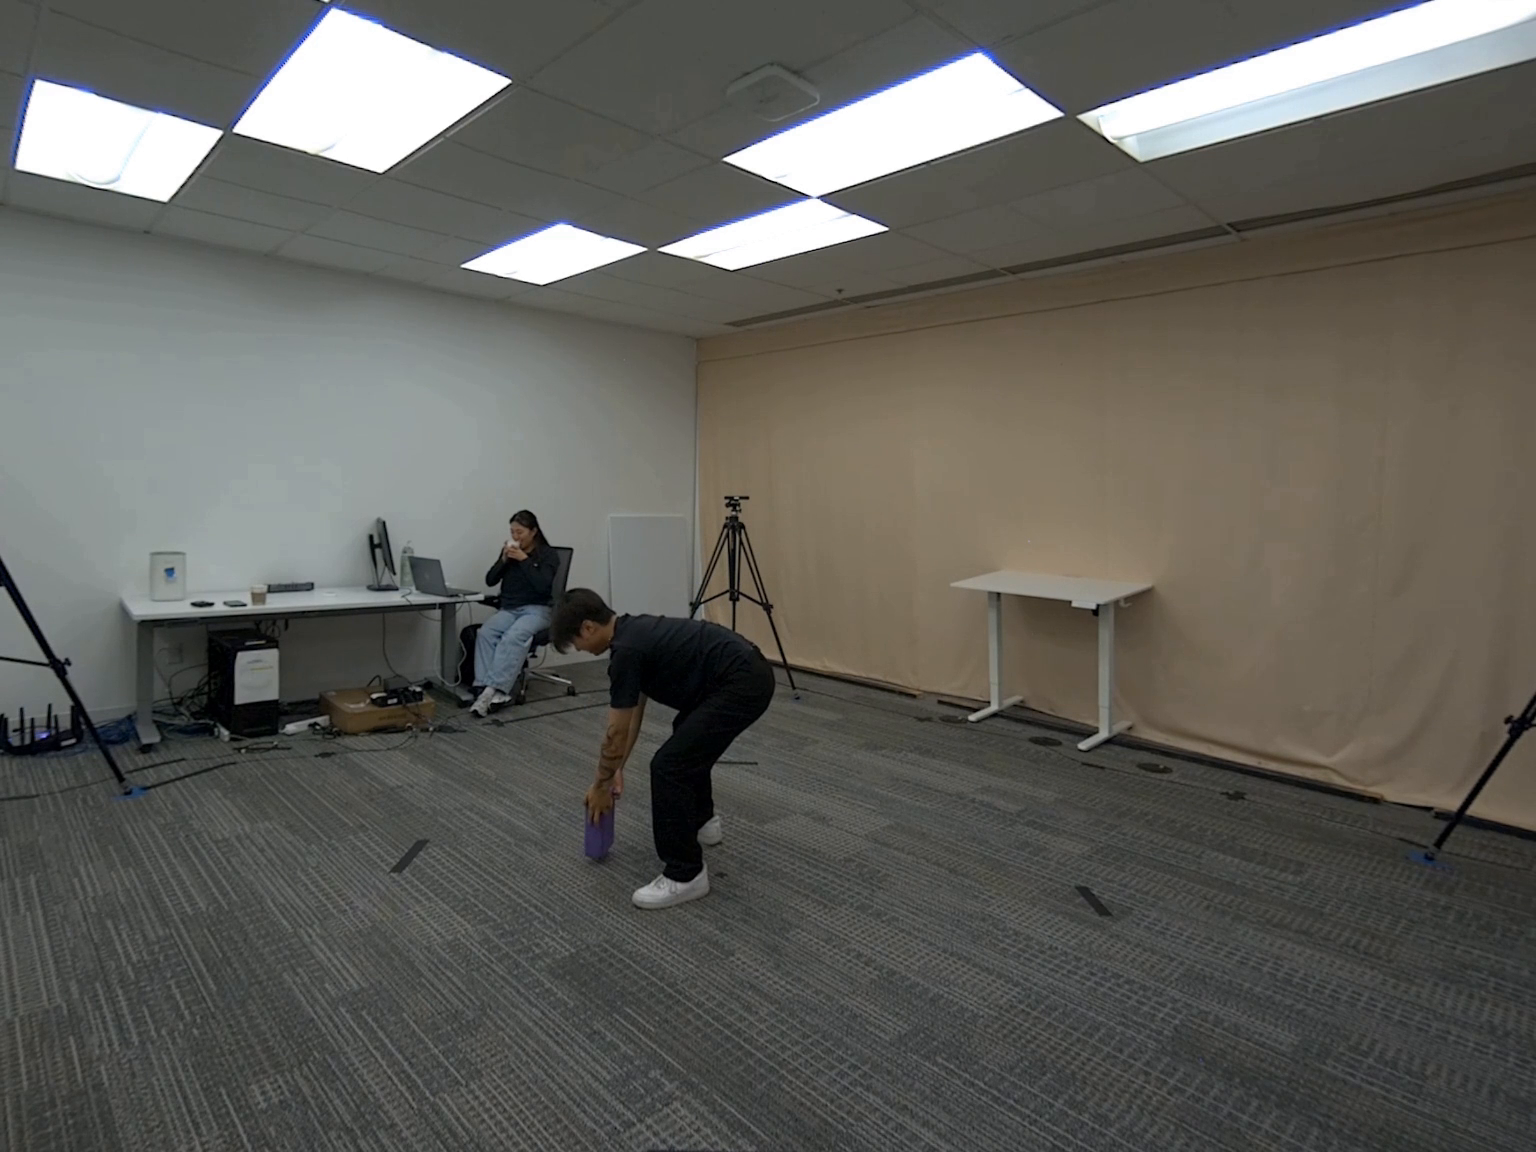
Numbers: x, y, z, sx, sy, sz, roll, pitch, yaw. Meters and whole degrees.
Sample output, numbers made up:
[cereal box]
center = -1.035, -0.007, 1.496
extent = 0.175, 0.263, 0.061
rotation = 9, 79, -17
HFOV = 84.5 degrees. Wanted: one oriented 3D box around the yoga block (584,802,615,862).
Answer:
[yoga block]
center = -0.656, 0.941, 3.218
extent = 0.077, 0.228, 0.148
rotation = 0, 4, 6
